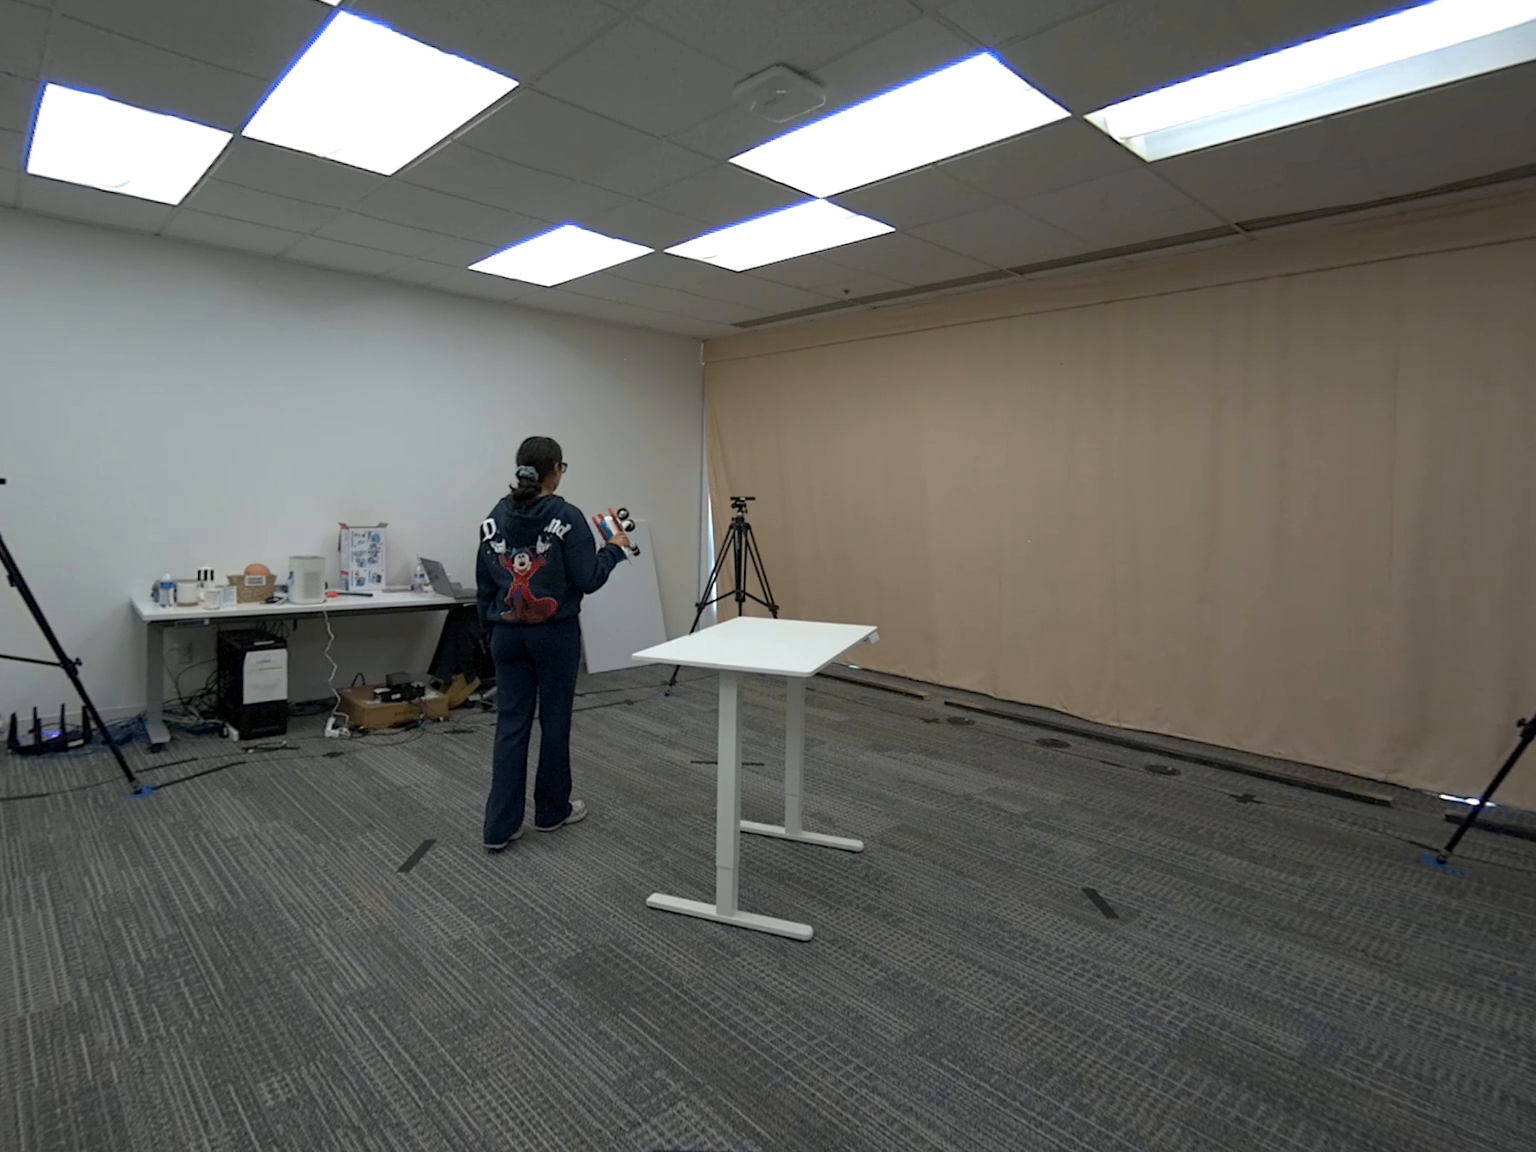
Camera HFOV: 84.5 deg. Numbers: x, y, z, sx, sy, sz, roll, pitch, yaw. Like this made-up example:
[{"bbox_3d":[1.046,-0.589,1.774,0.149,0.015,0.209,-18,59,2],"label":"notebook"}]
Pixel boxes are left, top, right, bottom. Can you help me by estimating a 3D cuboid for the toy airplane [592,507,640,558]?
[{"bbox_3d":[-0.670,-0.181,3.637,0.156,0.246,0.265,-18,26,-1],"label":"toy airplane"}]
